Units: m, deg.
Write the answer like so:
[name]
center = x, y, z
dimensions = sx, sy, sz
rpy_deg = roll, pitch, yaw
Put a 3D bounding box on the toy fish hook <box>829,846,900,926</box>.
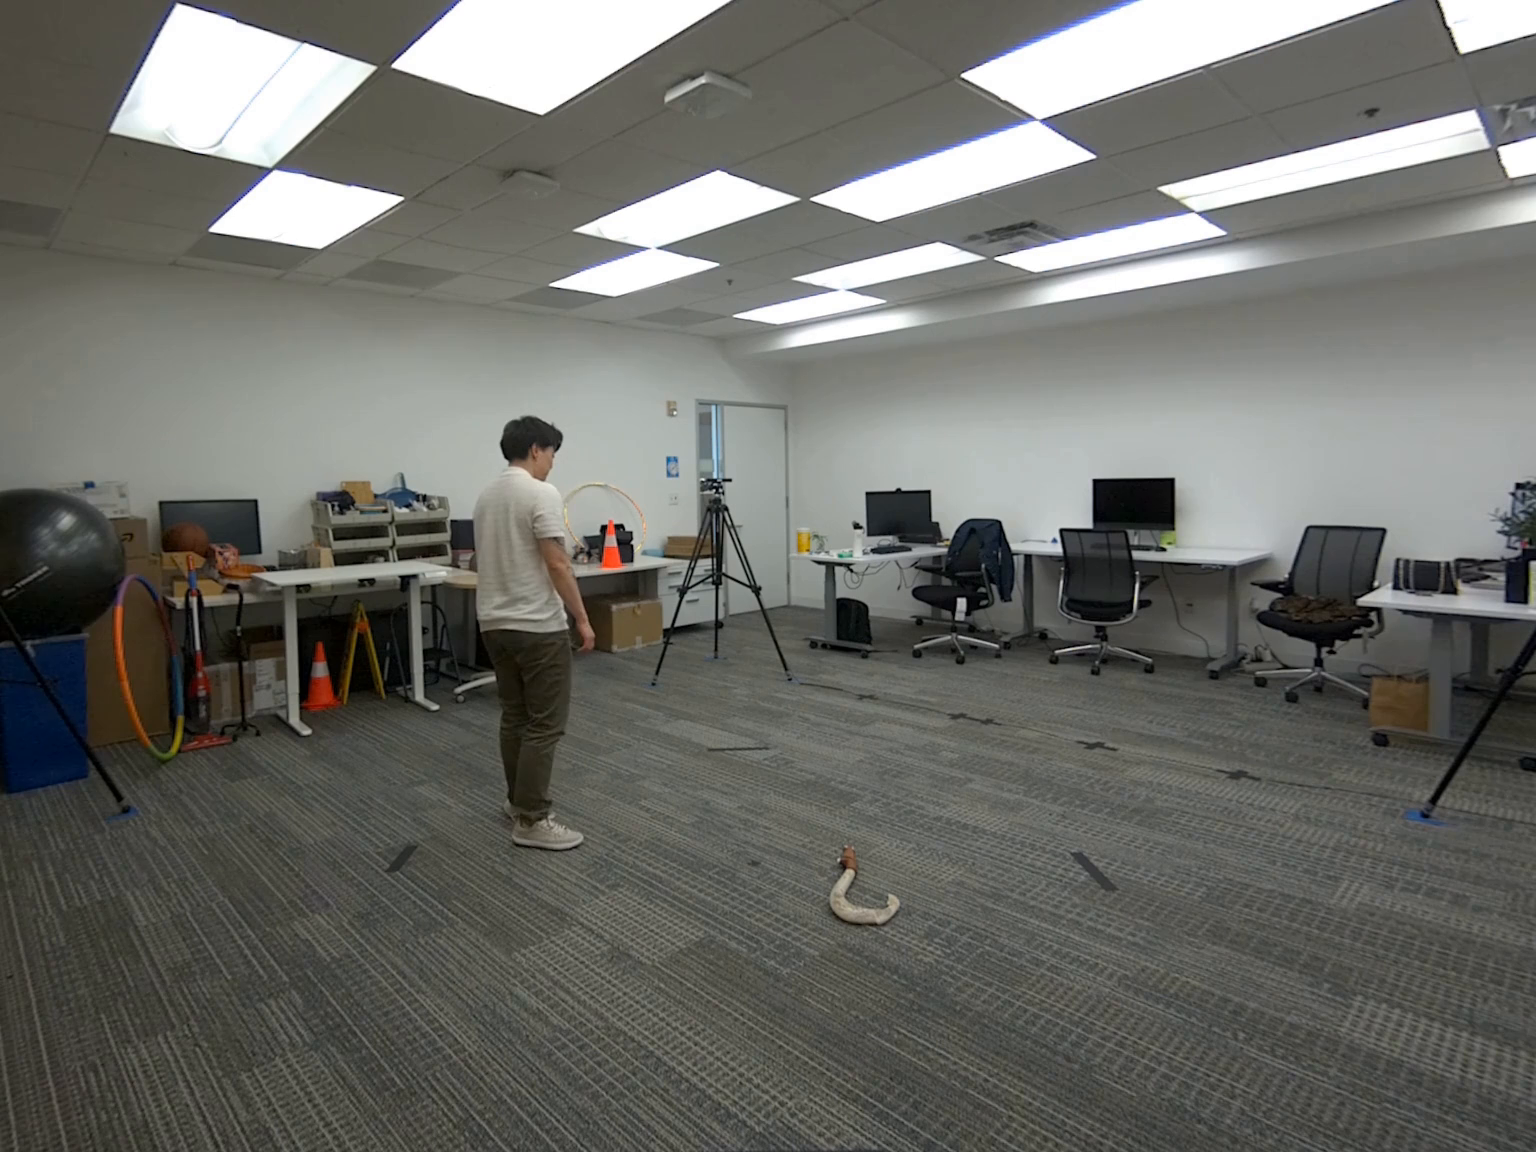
[toy fish hook]
center = 0.328, 1.041, 2.908
dimensions = 0.226, 0.048, 0.505
rpy_deg = 7, 8, 6
